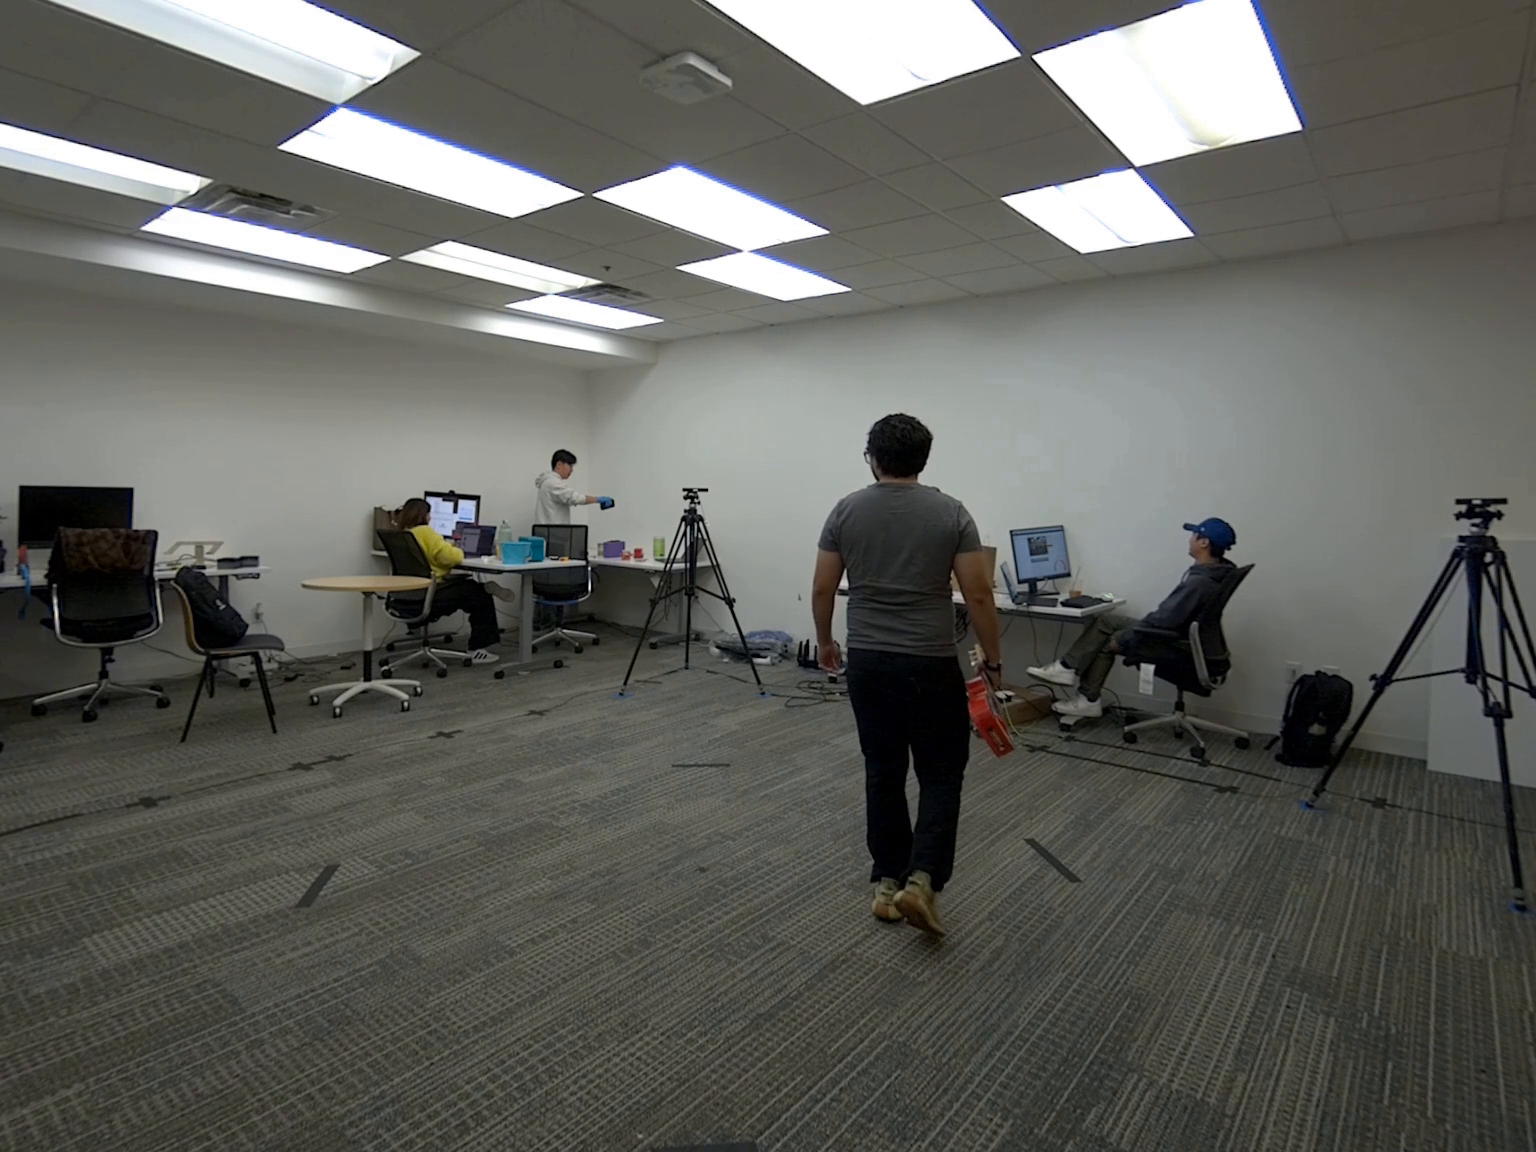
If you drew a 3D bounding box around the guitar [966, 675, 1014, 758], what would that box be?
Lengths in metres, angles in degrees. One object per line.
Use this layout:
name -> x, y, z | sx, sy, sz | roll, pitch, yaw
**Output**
guitar -> 0.718, 0.408, 2.788 | 0.071, 0.191, 0.499 | -32, 9, 18
